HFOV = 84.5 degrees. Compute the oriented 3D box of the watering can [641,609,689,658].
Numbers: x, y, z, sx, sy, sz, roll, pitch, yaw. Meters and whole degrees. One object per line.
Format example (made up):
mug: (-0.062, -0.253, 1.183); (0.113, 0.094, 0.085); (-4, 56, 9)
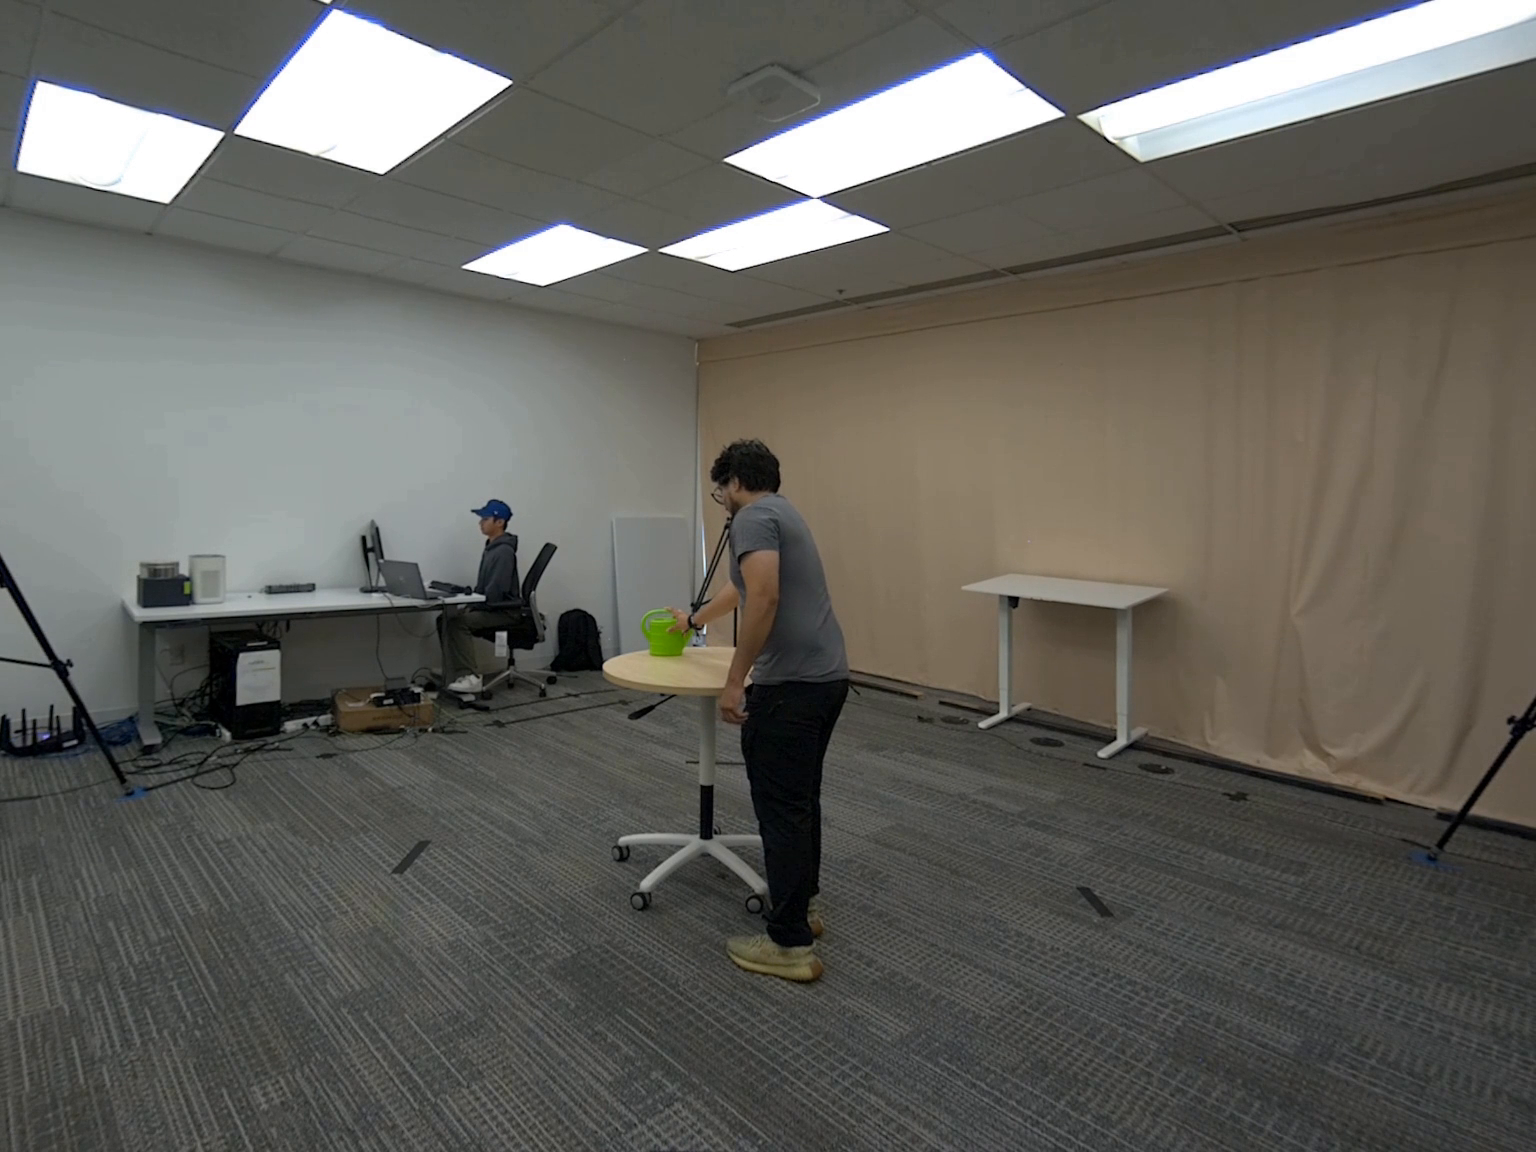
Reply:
watering can: (-0.362, 0.223, 3.257); (0.280, 0.176, 0.098); (-1, 3, 7)
